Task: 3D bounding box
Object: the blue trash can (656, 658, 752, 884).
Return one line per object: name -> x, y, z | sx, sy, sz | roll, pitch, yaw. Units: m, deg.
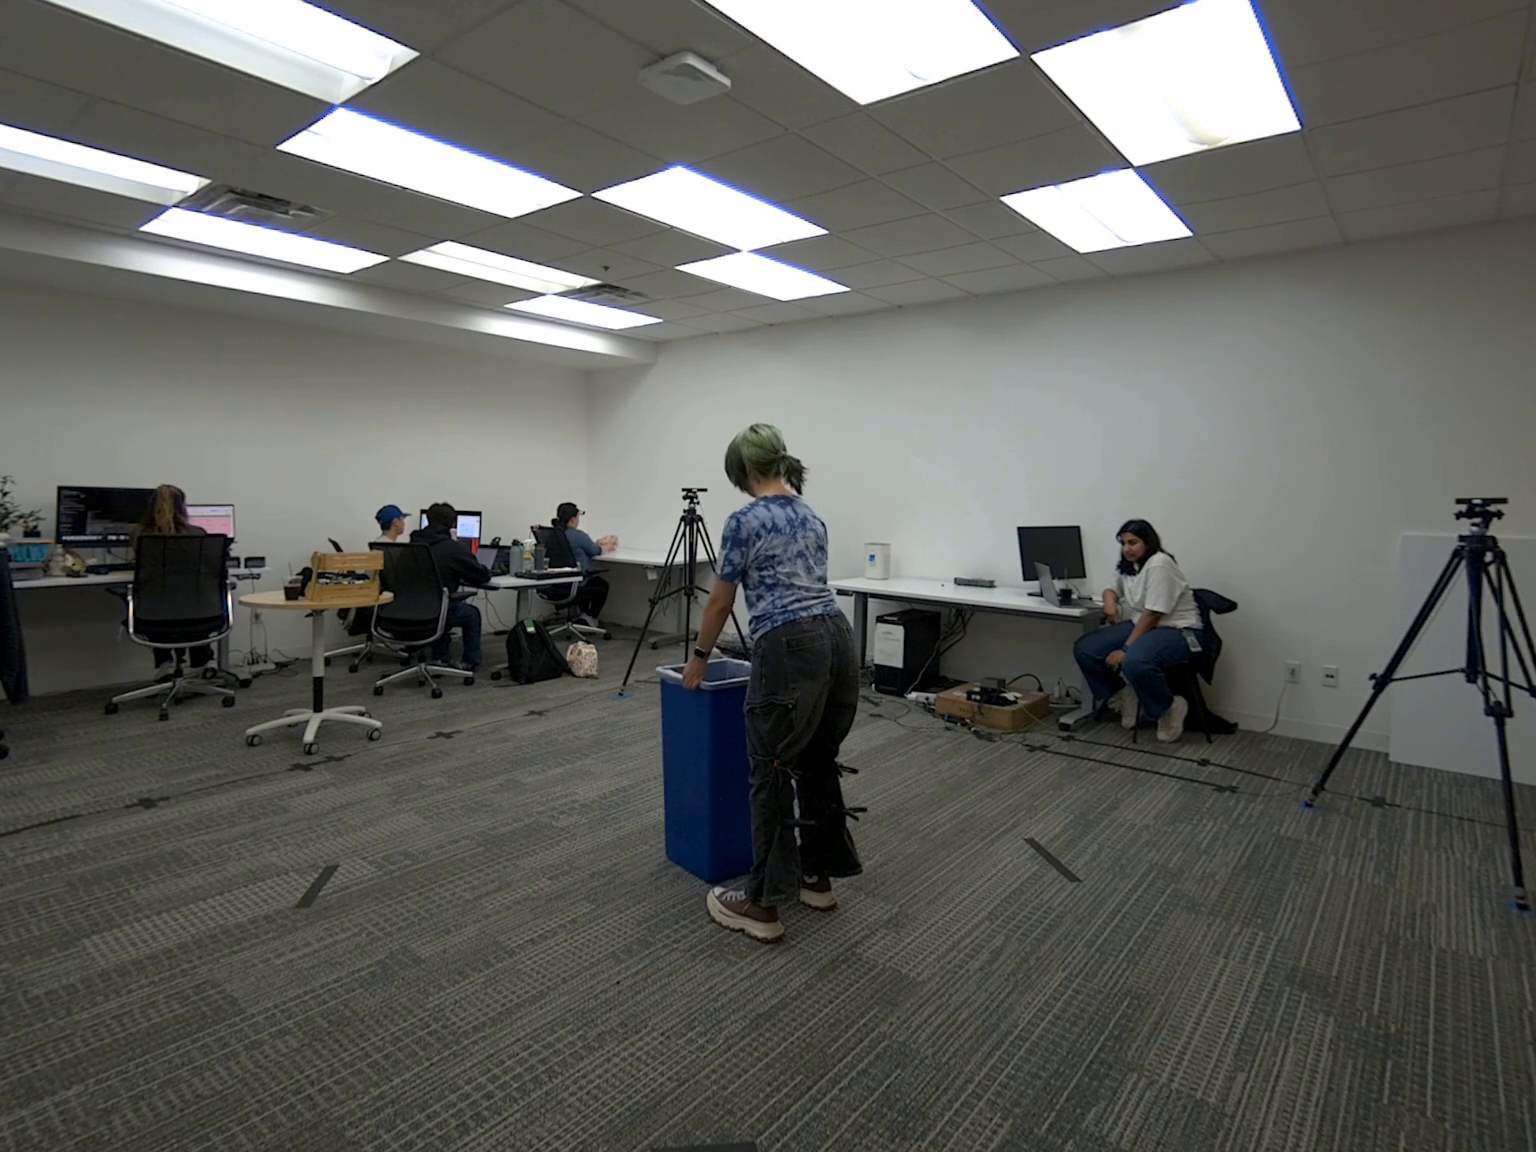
blue trash can -> -0.197, 0.705, 3.164 | 0.363, 0.713, 0.390 | -1, 2, -39
